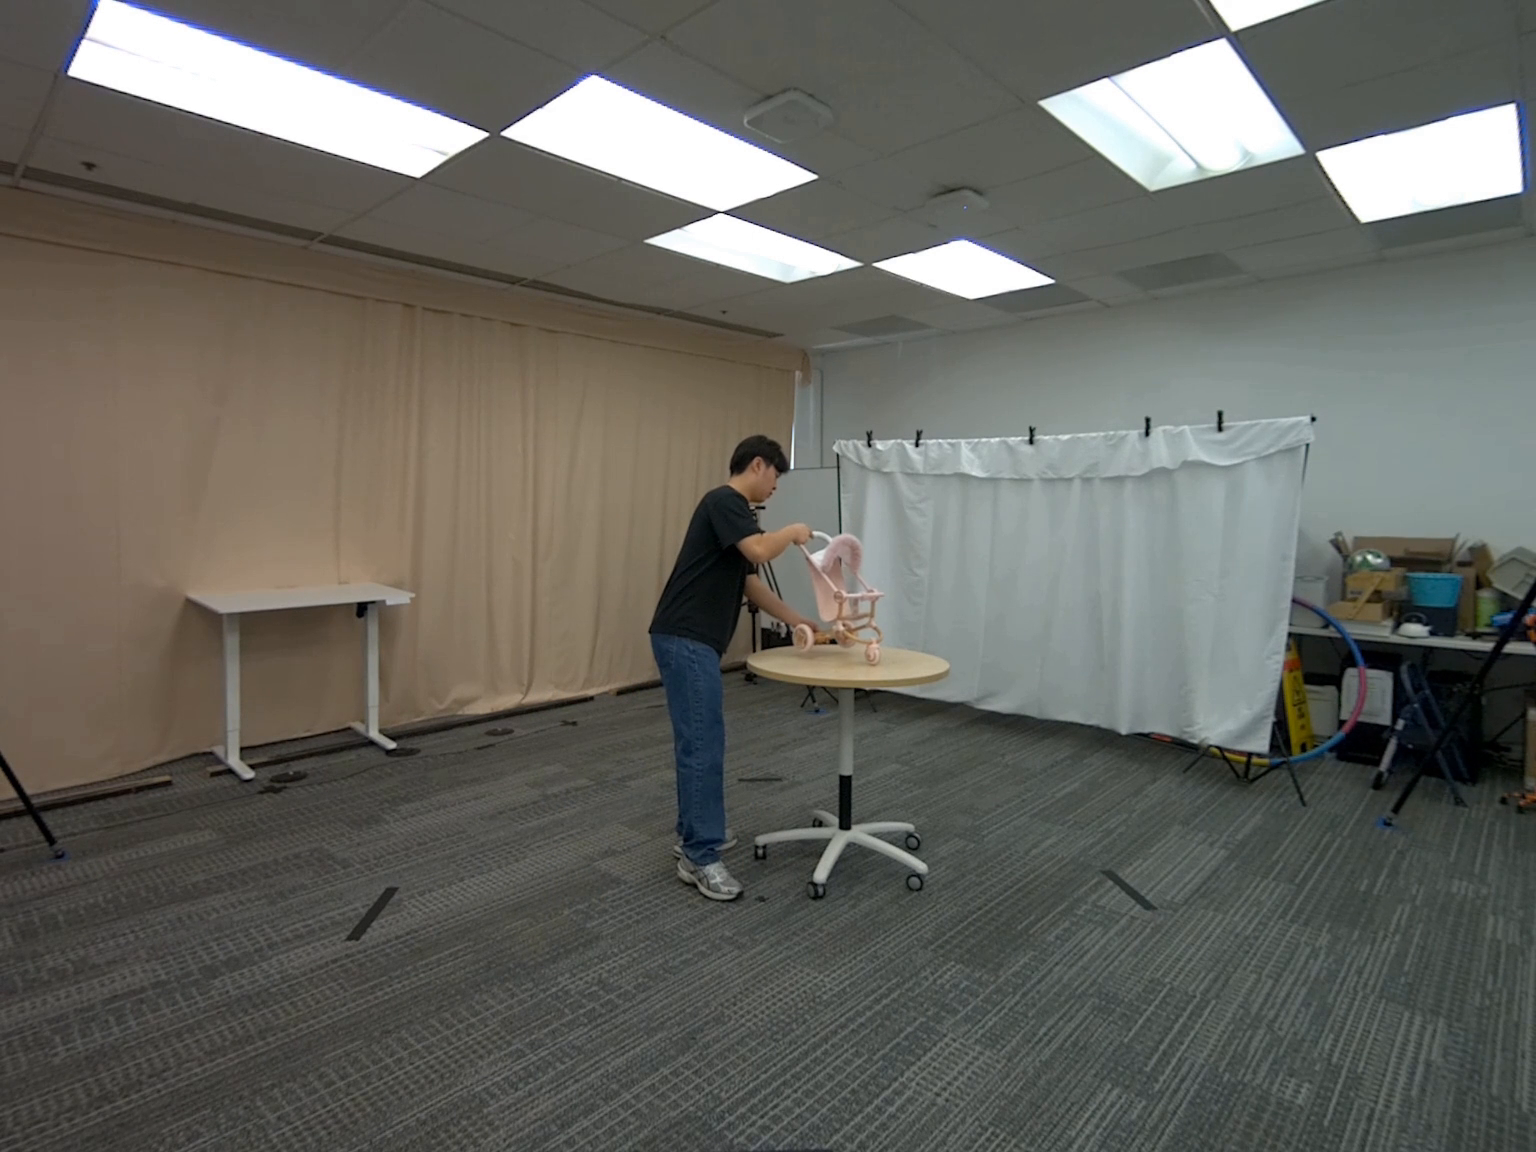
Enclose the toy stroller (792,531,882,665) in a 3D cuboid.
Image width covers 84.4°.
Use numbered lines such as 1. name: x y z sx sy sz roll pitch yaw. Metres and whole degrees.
1. toy stroller: 0.292 0.079 3.257 0.273 0.537 0.351 0 -6 -37
